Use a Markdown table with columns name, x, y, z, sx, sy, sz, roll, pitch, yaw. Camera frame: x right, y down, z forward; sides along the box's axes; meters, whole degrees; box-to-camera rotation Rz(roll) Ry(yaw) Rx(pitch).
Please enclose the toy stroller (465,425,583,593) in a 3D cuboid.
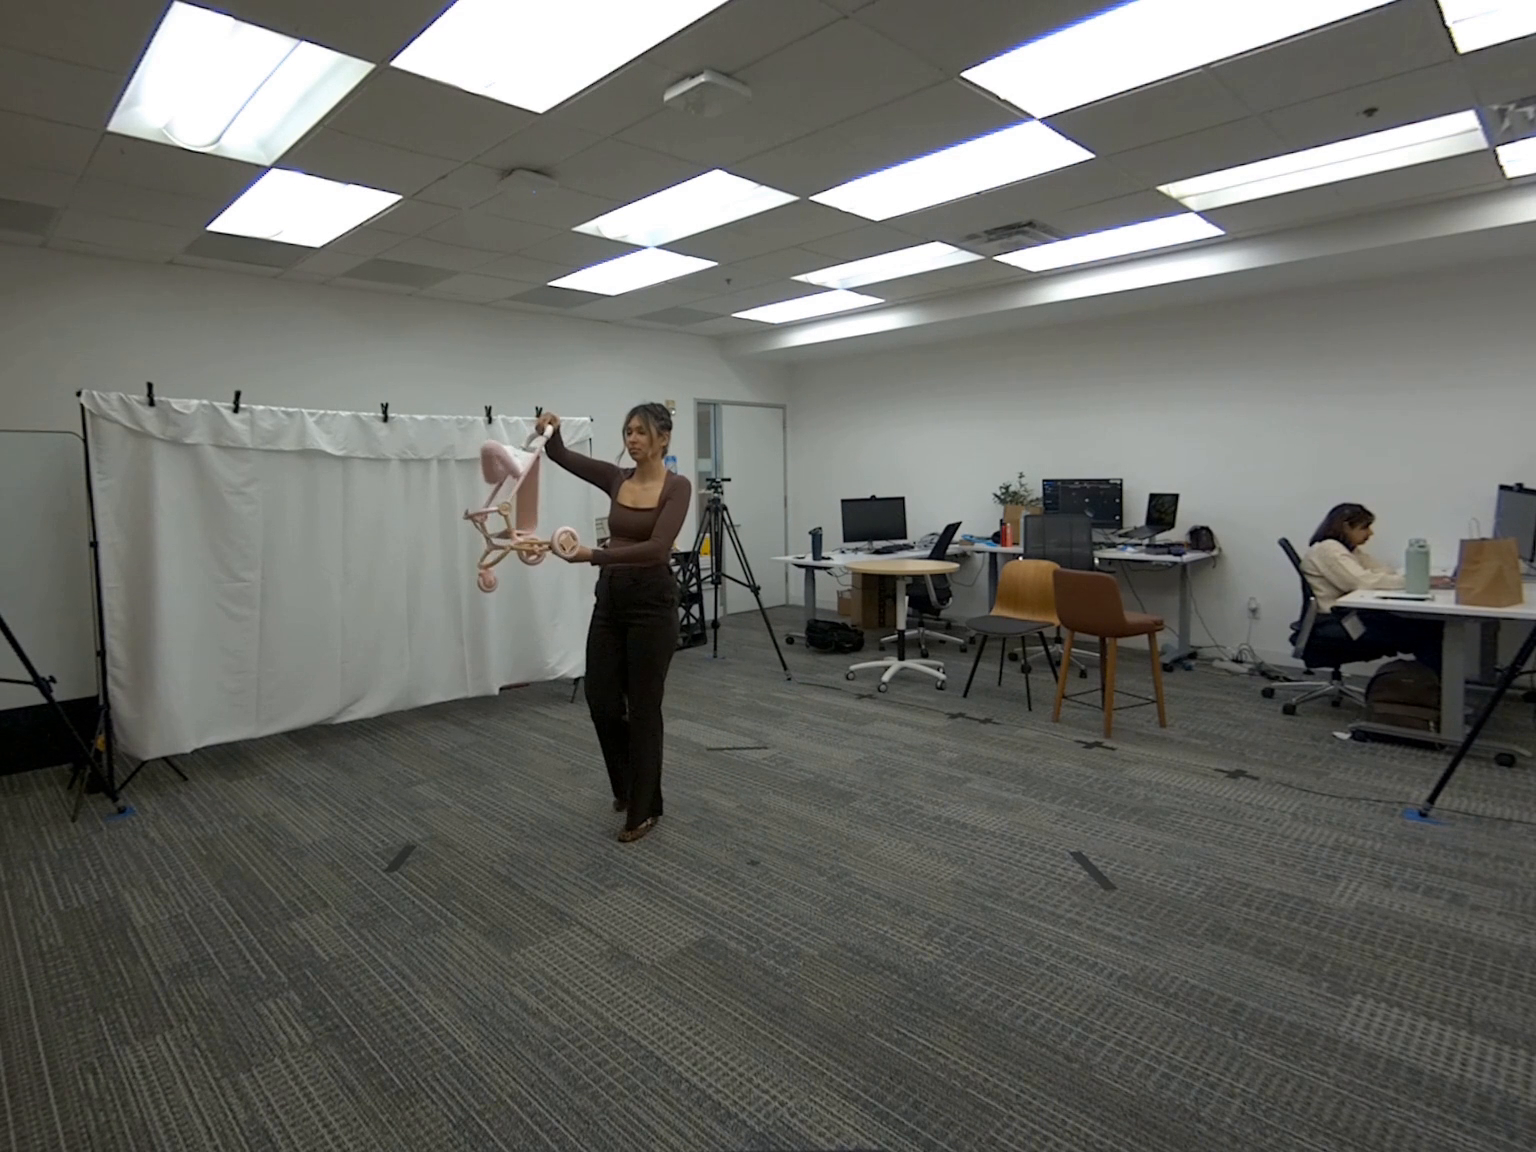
| name | x | y | z | sx | sy | sz | roll | pitch | yaw |
| --- | --- | --- | --- | --- | --- | --- | --- | --- | --- |
| toy stroller | -0.868 | -0.231 | 2.912 | 0.333 | 0.535 | 0.288 | -10 | 1 | -37 |
